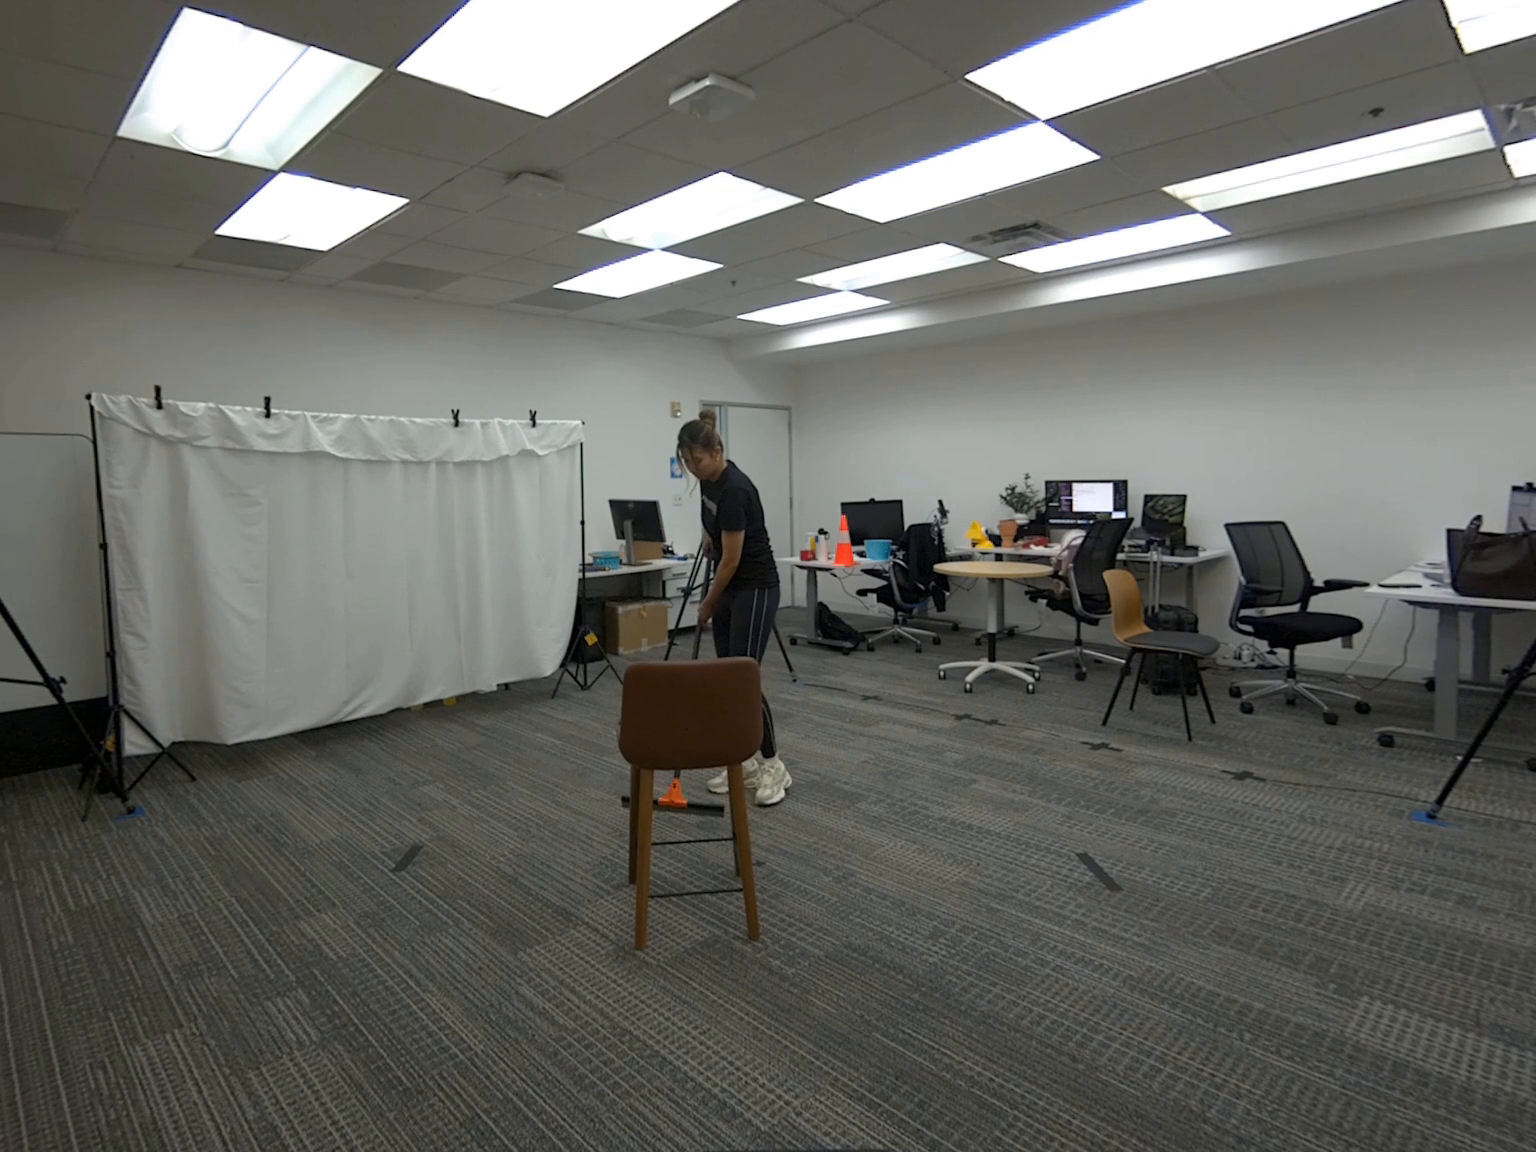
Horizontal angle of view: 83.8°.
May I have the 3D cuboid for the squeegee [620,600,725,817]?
[{"bbox_3d":[-0.327,0.251,3.820,0.443,1.566,0.051,1,-27,12],"label":"squeegee"}]
